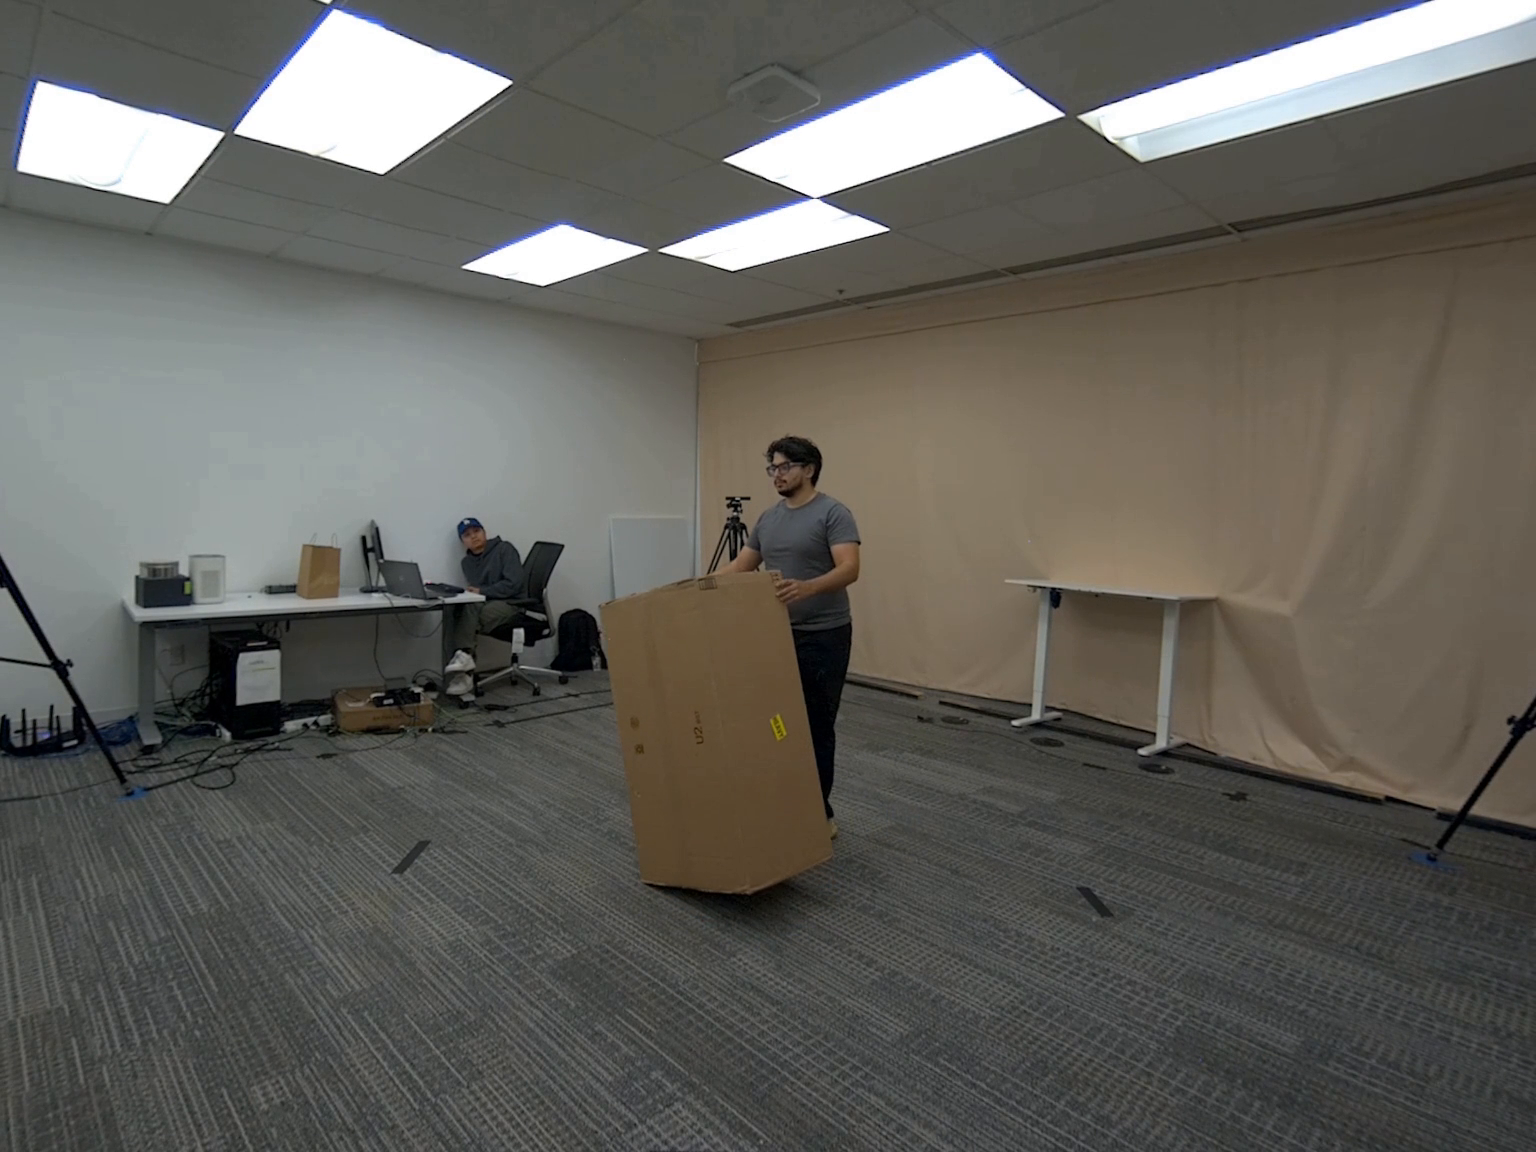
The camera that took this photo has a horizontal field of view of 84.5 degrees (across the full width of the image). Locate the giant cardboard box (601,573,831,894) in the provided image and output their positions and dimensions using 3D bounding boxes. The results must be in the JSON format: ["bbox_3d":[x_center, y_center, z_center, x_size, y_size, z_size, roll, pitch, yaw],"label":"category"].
[{"bbox_3d":[-0.213,0.549,3.056,0.416,1.033,0.587,-2,-11,-45],"label":"giant cardboard box"}]
